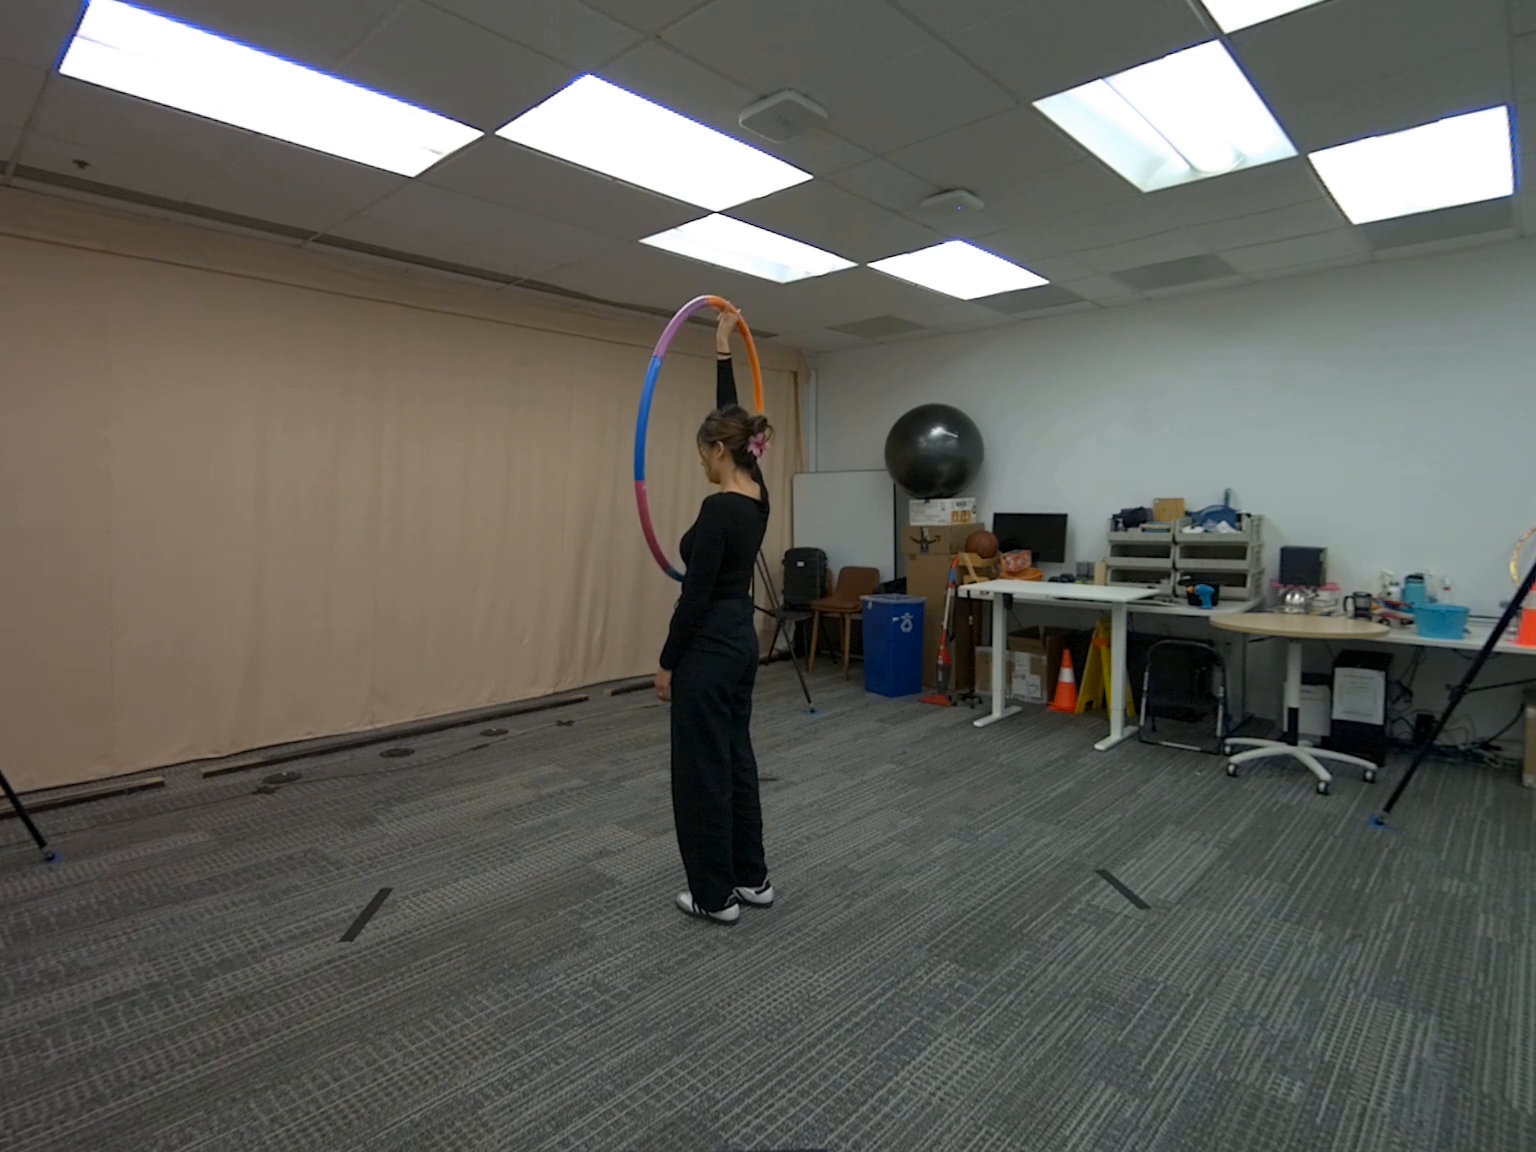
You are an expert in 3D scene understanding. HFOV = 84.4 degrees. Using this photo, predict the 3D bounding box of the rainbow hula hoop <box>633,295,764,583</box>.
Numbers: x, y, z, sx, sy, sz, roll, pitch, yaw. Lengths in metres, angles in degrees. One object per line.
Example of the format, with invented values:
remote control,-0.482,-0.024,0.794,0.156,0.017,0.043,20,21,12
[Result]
rainbow hula hoop,-0.202,-0.464,2.954,0.053,0.982,0.965,8,6,21
